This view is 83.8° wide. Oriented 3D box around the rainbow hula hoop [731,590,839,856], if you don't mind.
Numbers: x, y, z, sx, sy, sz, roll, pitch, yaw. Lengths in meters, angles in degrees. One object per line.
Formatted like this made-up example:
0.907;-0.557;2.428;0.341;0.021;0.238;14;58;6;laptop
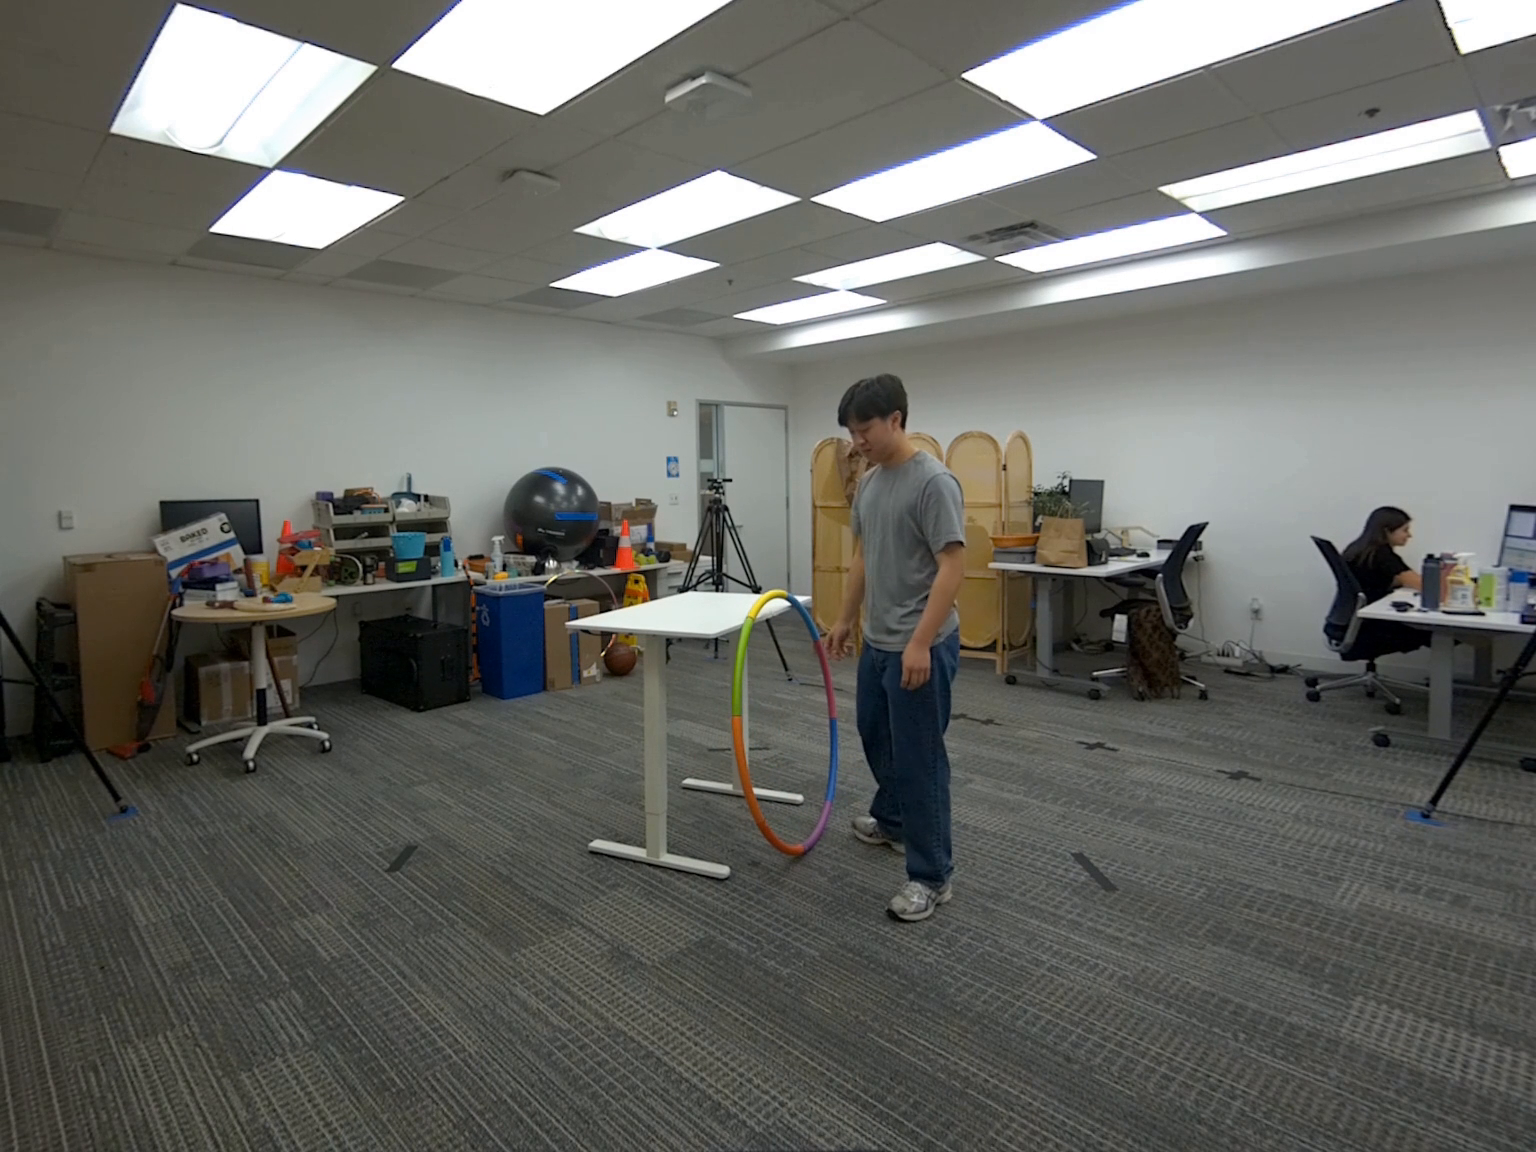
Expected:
0.089;0.547;3.266;0.036;0.979;0.962;-11;0;22;rainbow hula hoop
